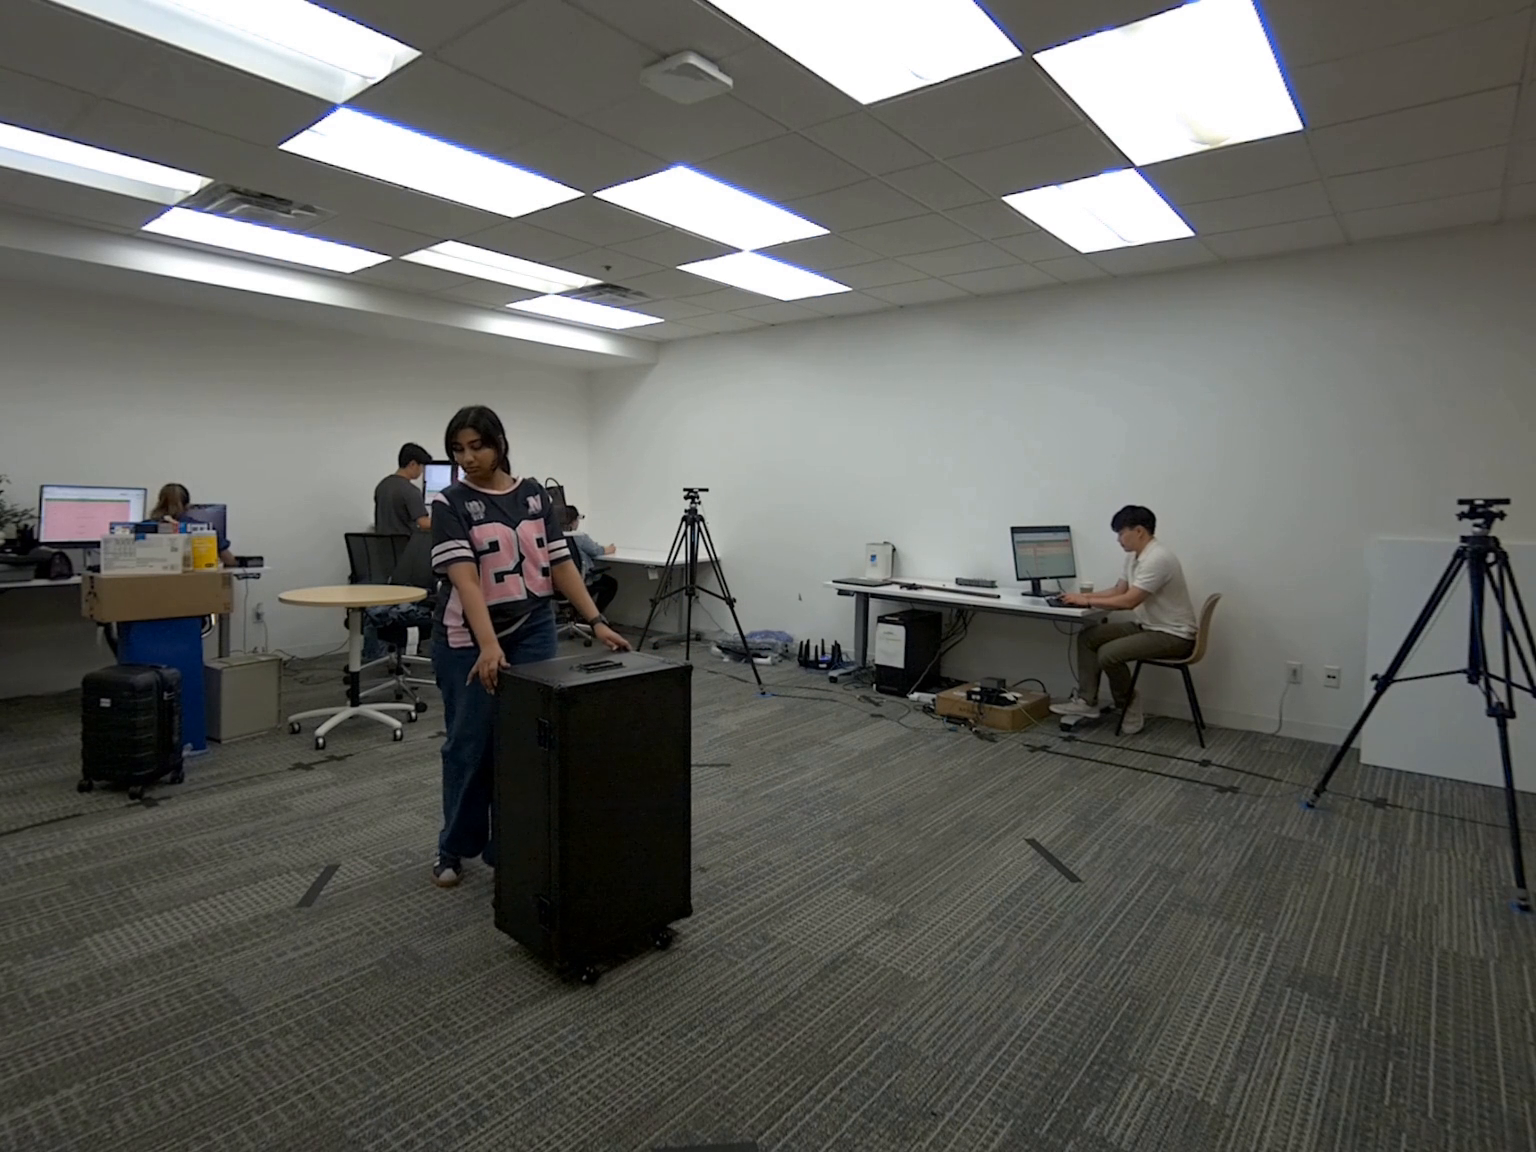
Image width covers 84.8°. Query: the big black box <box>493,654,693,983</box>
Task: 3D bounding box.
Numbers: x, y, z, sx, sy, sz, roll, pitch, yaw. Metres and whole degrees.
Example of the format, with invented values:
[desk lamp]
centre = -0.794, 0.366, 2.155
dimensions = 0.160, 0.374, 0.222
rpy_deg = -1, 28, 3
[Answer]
[big black box]
centre = -0.542, 0.698, 2.560
dimensions = 0.398, 0.867, 0.507
rpy_deg = 2, 3, 44
